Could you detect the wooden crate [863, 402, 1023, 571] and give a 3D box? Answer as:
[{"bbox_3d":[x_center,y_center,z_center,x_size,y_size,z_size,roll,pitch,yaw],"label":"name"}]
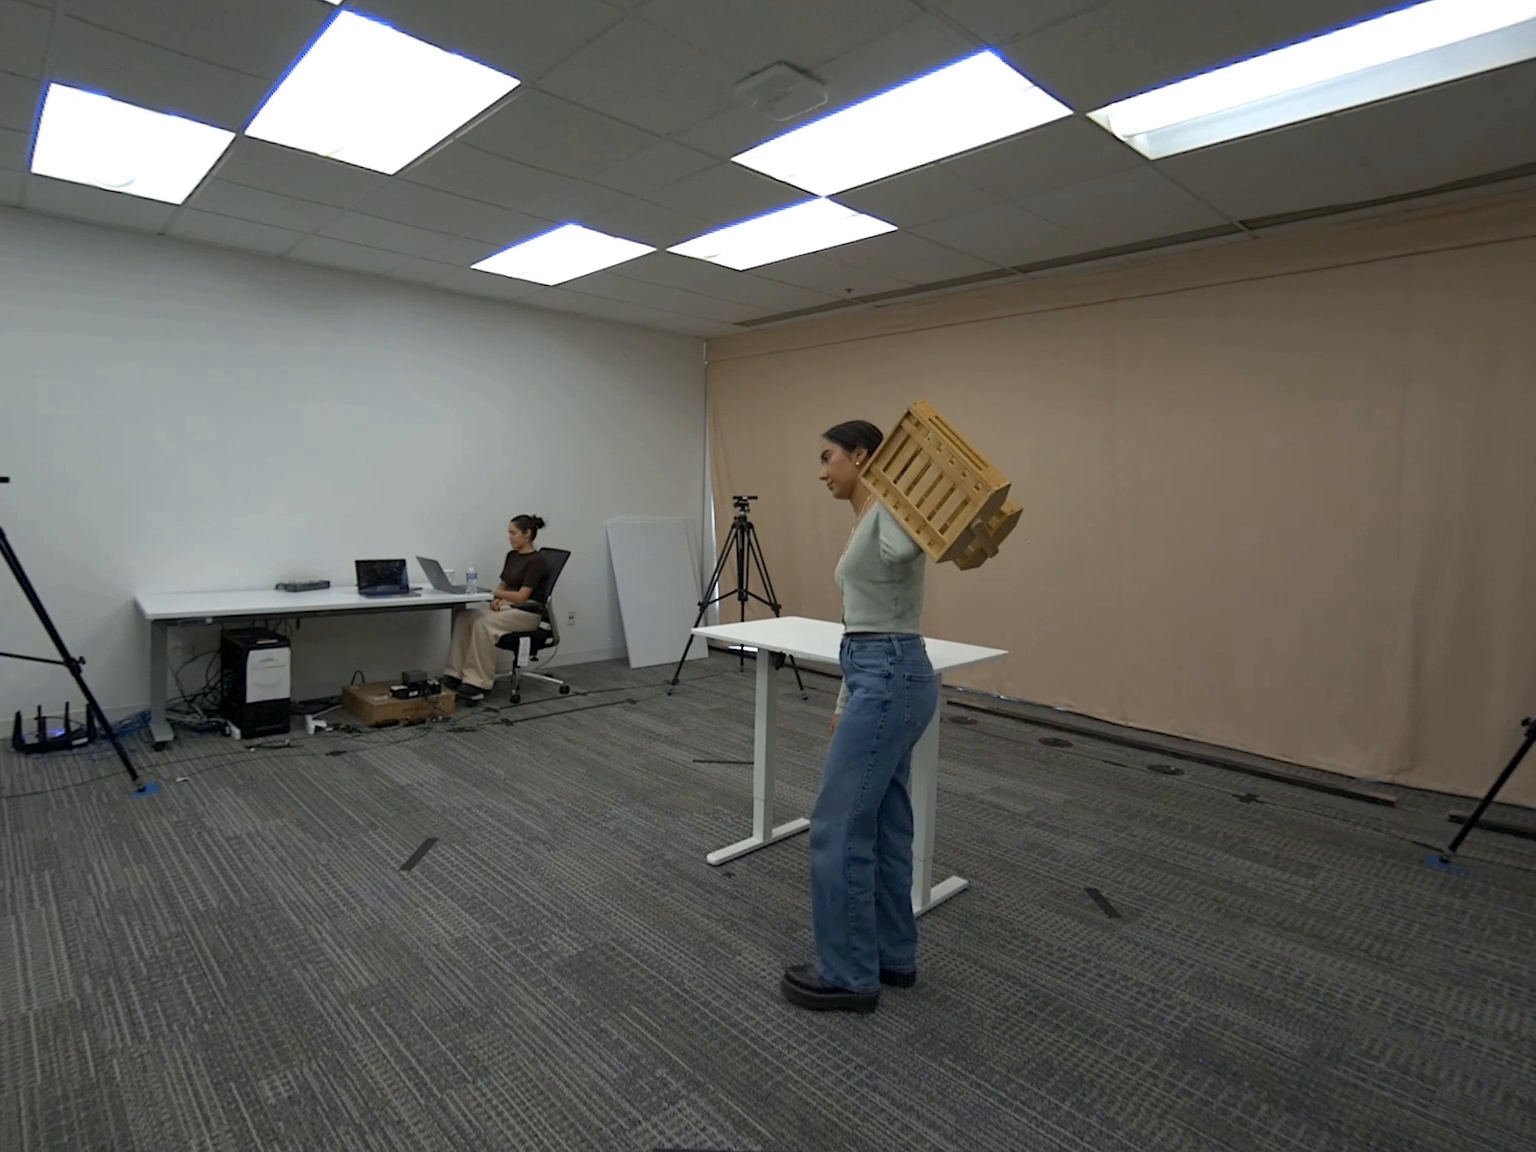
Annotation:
[{"bbox_3d":[0.433,-0.219,2.053,0.267,0.300,0.333,-6,50,-44],"label":"wooden crate"}]
